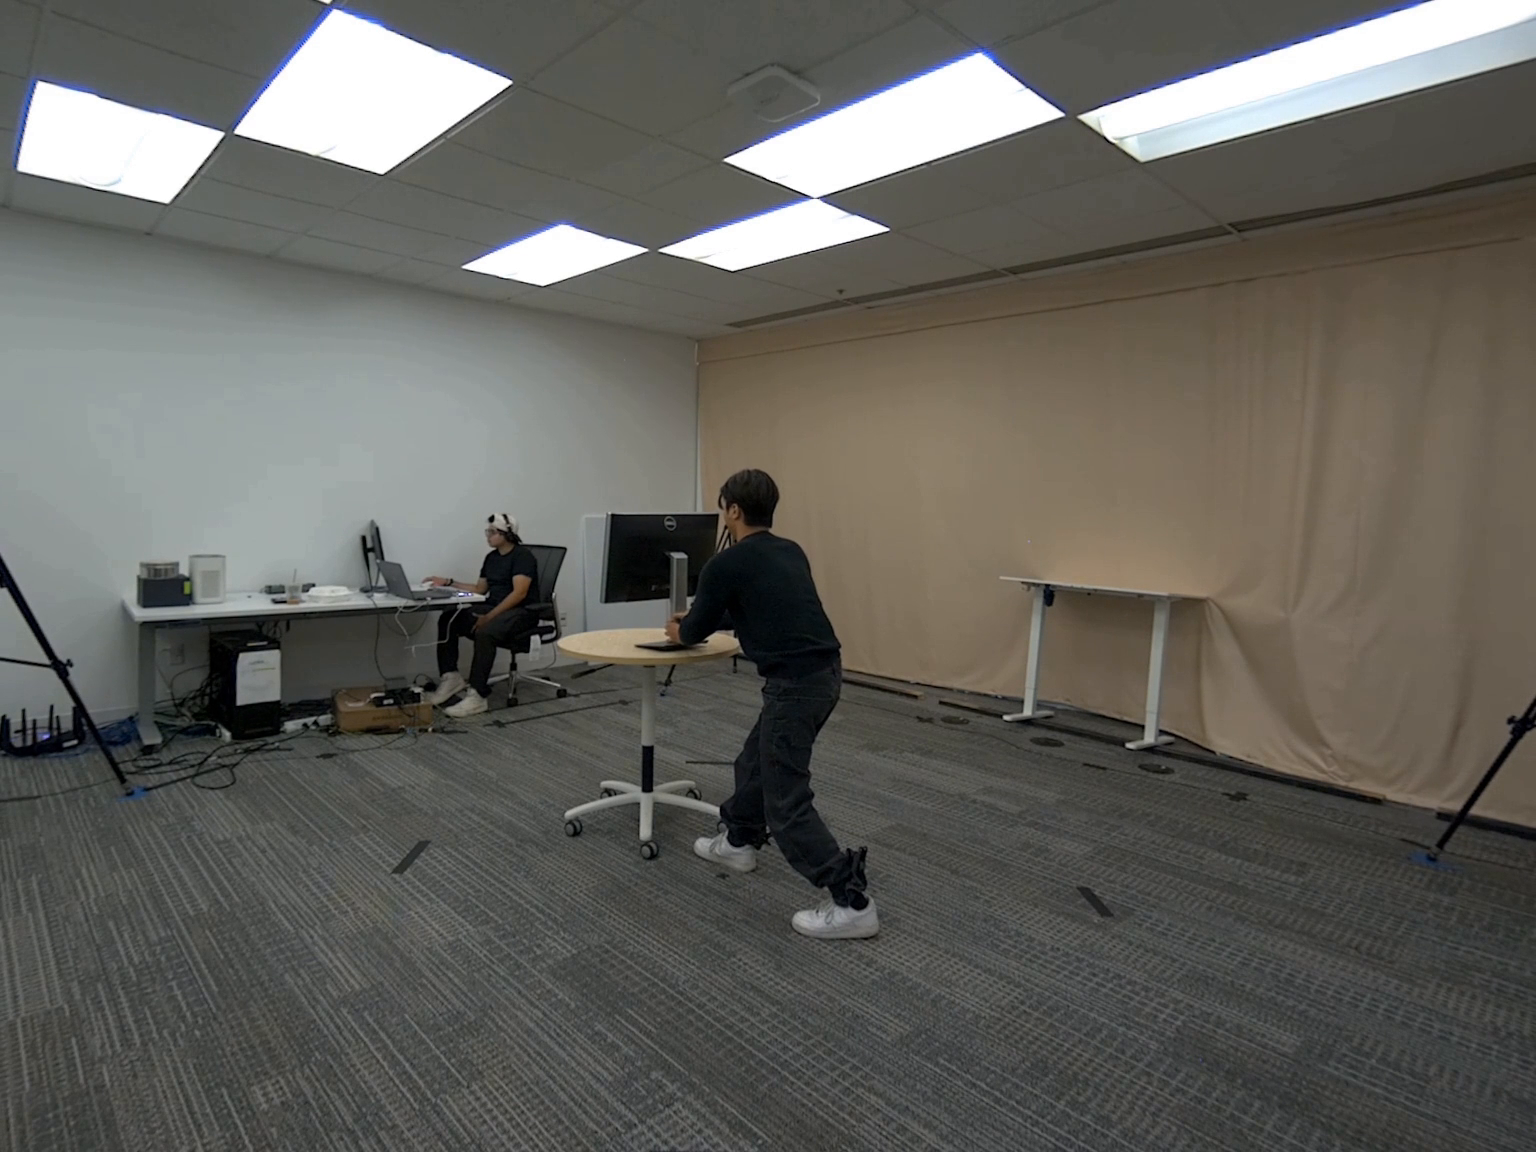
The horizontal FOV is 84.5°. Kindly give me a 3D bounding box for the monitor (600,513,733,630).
[{"bbox_3d":[-0.417,0.013,3.438,0.191,0.522,0.527,-2,1,45],"label":"monitor"}]
